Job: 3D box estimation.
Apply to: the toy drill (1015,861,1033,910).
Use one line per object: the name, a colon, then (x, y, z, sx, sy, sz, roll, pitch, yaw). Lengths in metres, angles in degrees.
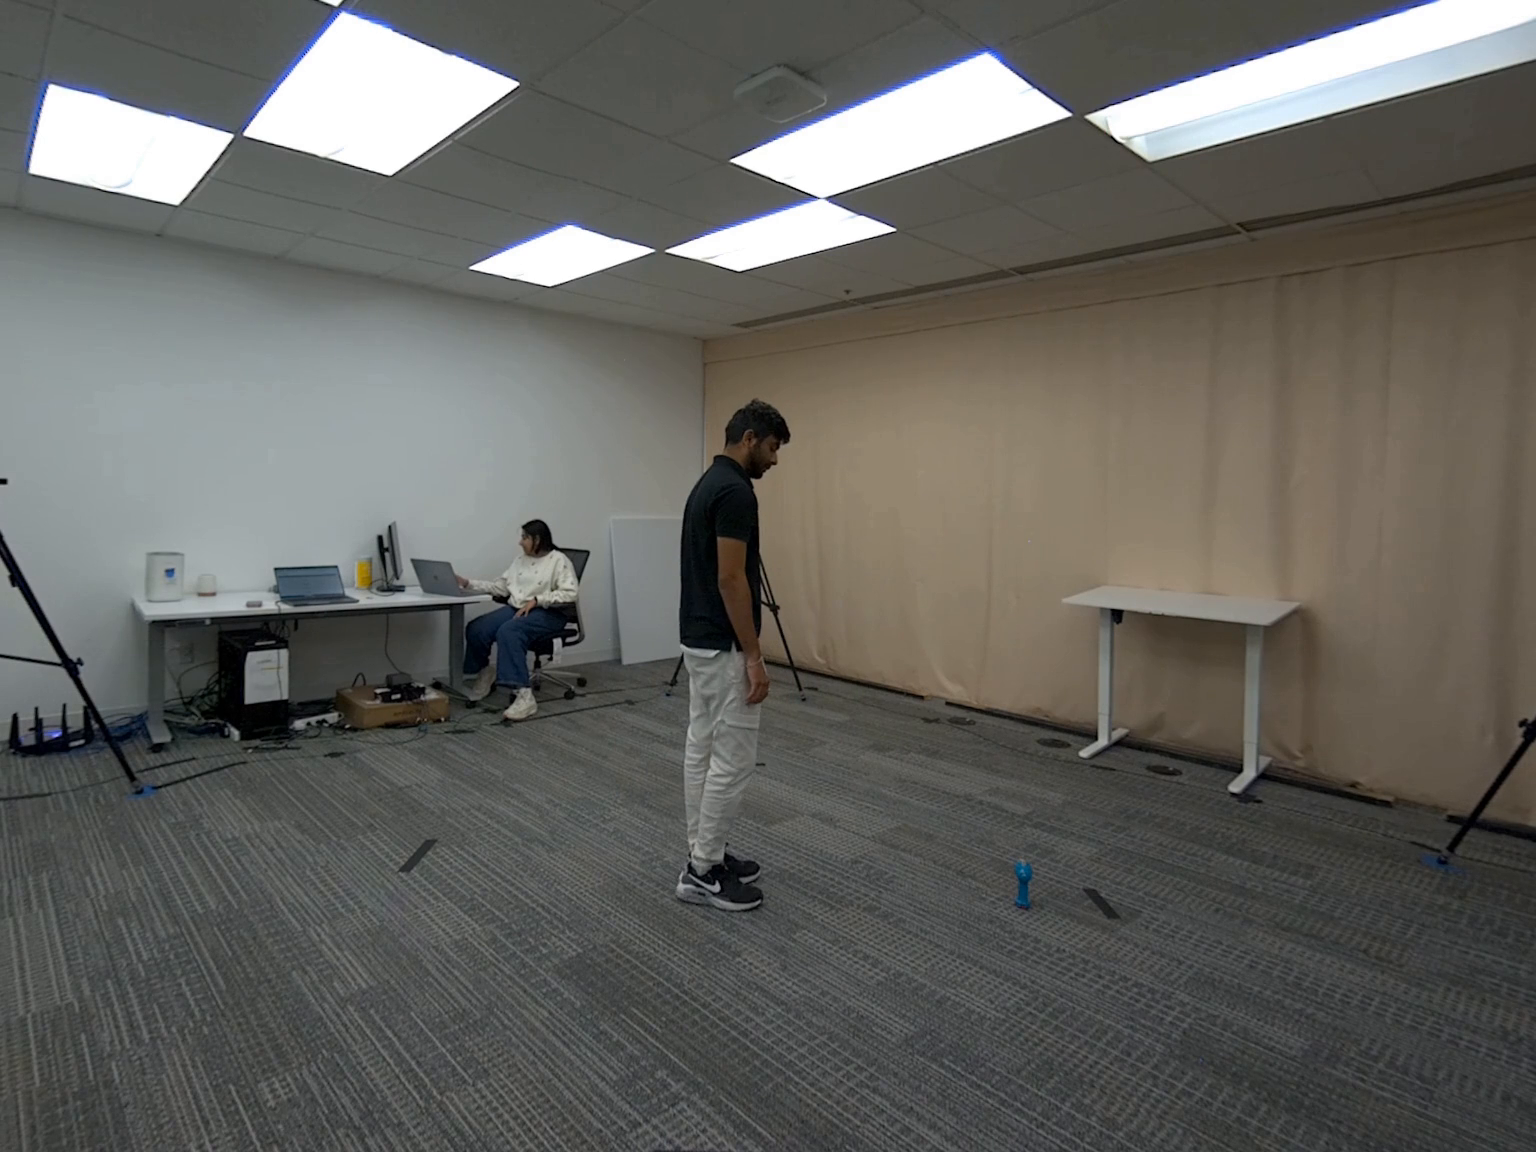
toy drill: (0.886, 1.074, 2.972, 0.061, 0.145, 0.169, 0, 5, 9)
